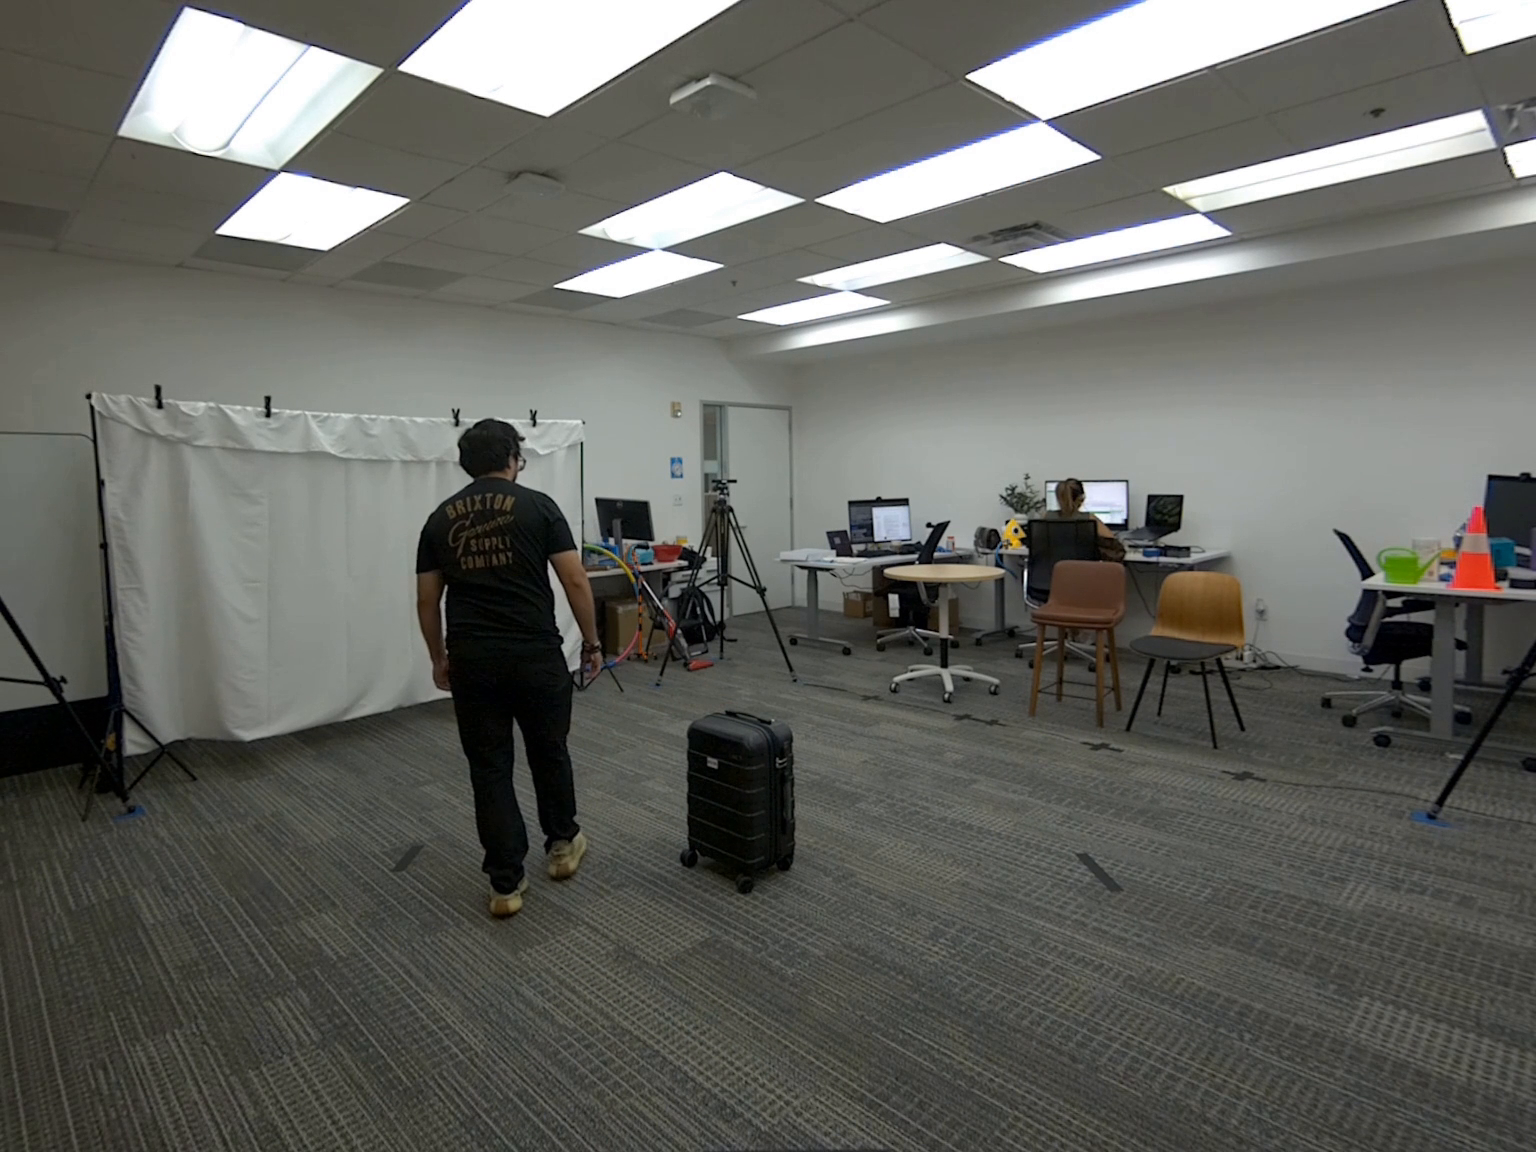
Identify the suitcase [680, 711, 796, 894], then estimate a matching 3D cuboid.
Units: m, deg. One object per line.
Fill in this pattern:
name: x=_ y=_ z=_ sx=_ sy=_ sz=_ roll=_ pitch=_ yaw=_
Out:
suitcase: x=-0.099 y=0.776 z=3.073 sx=0.387 sy=0.547 sz=0.241 roll=4 pitch=5 yaw=42
